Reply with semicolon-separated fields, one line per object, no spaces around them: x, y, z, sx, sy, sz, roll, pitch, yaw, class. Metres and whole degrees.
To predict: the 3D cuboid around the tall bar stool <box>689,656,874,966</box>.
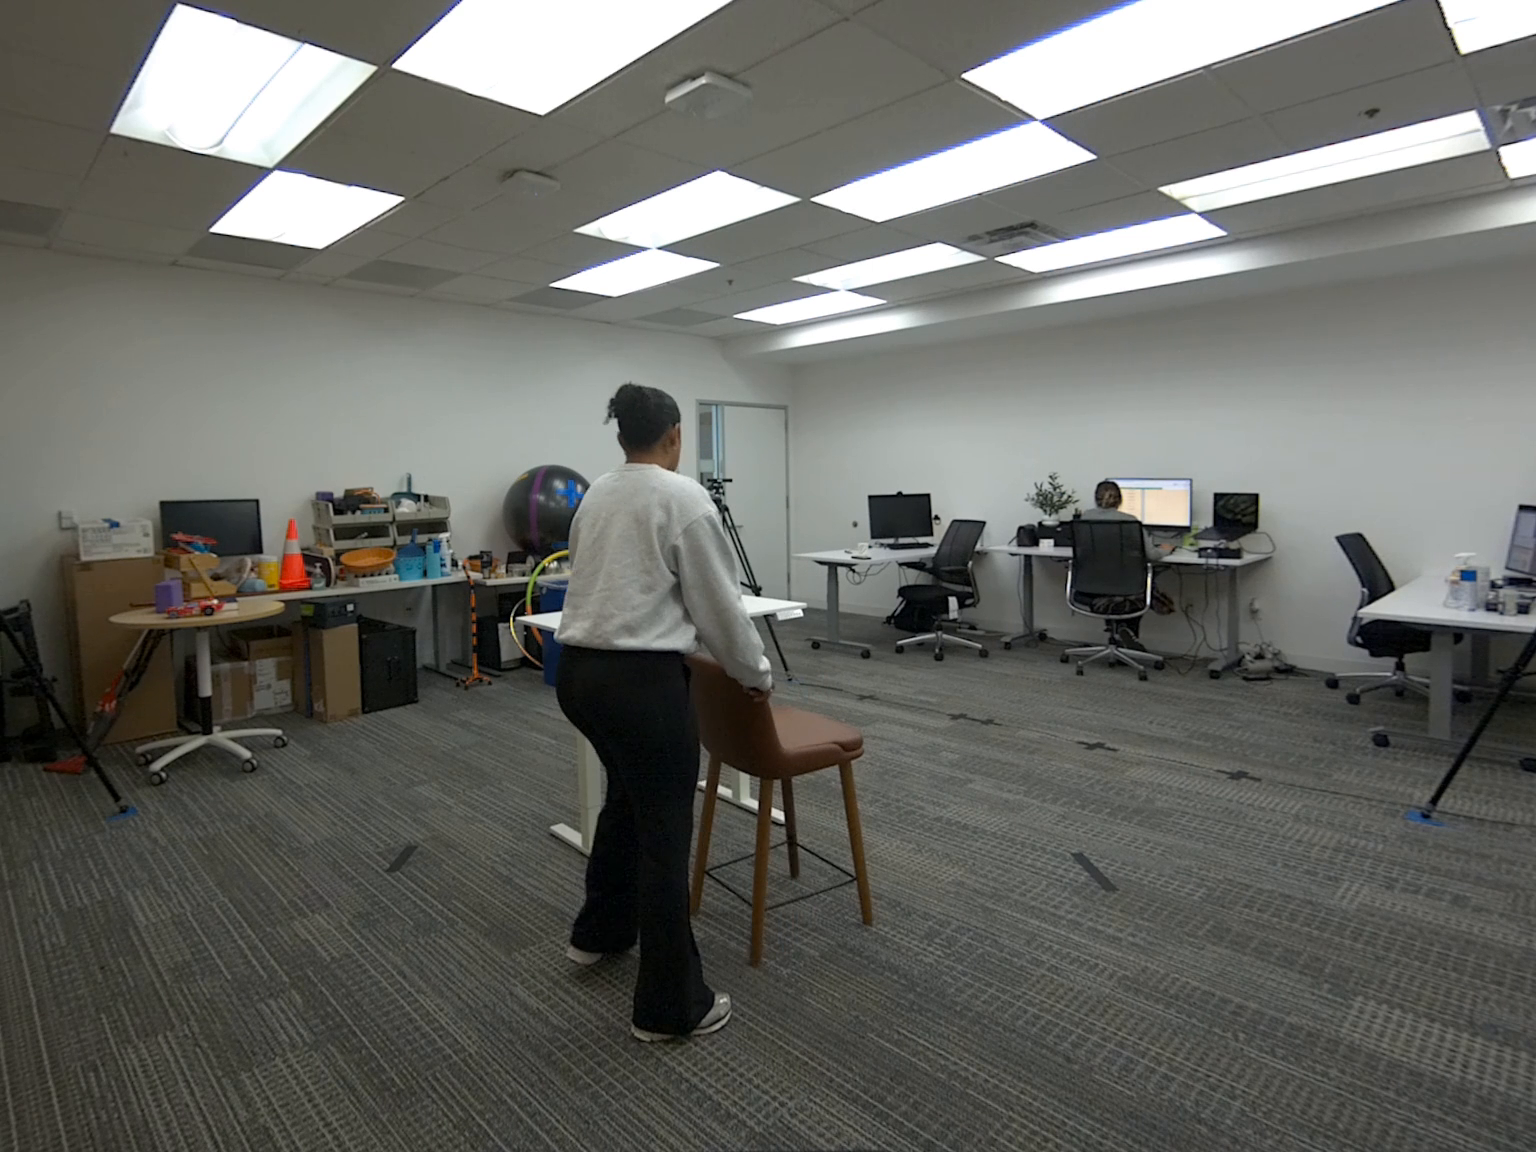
0.019;0.654;2.691;0.457;0.885;0.470;-7;7;-34;tall bar stool
